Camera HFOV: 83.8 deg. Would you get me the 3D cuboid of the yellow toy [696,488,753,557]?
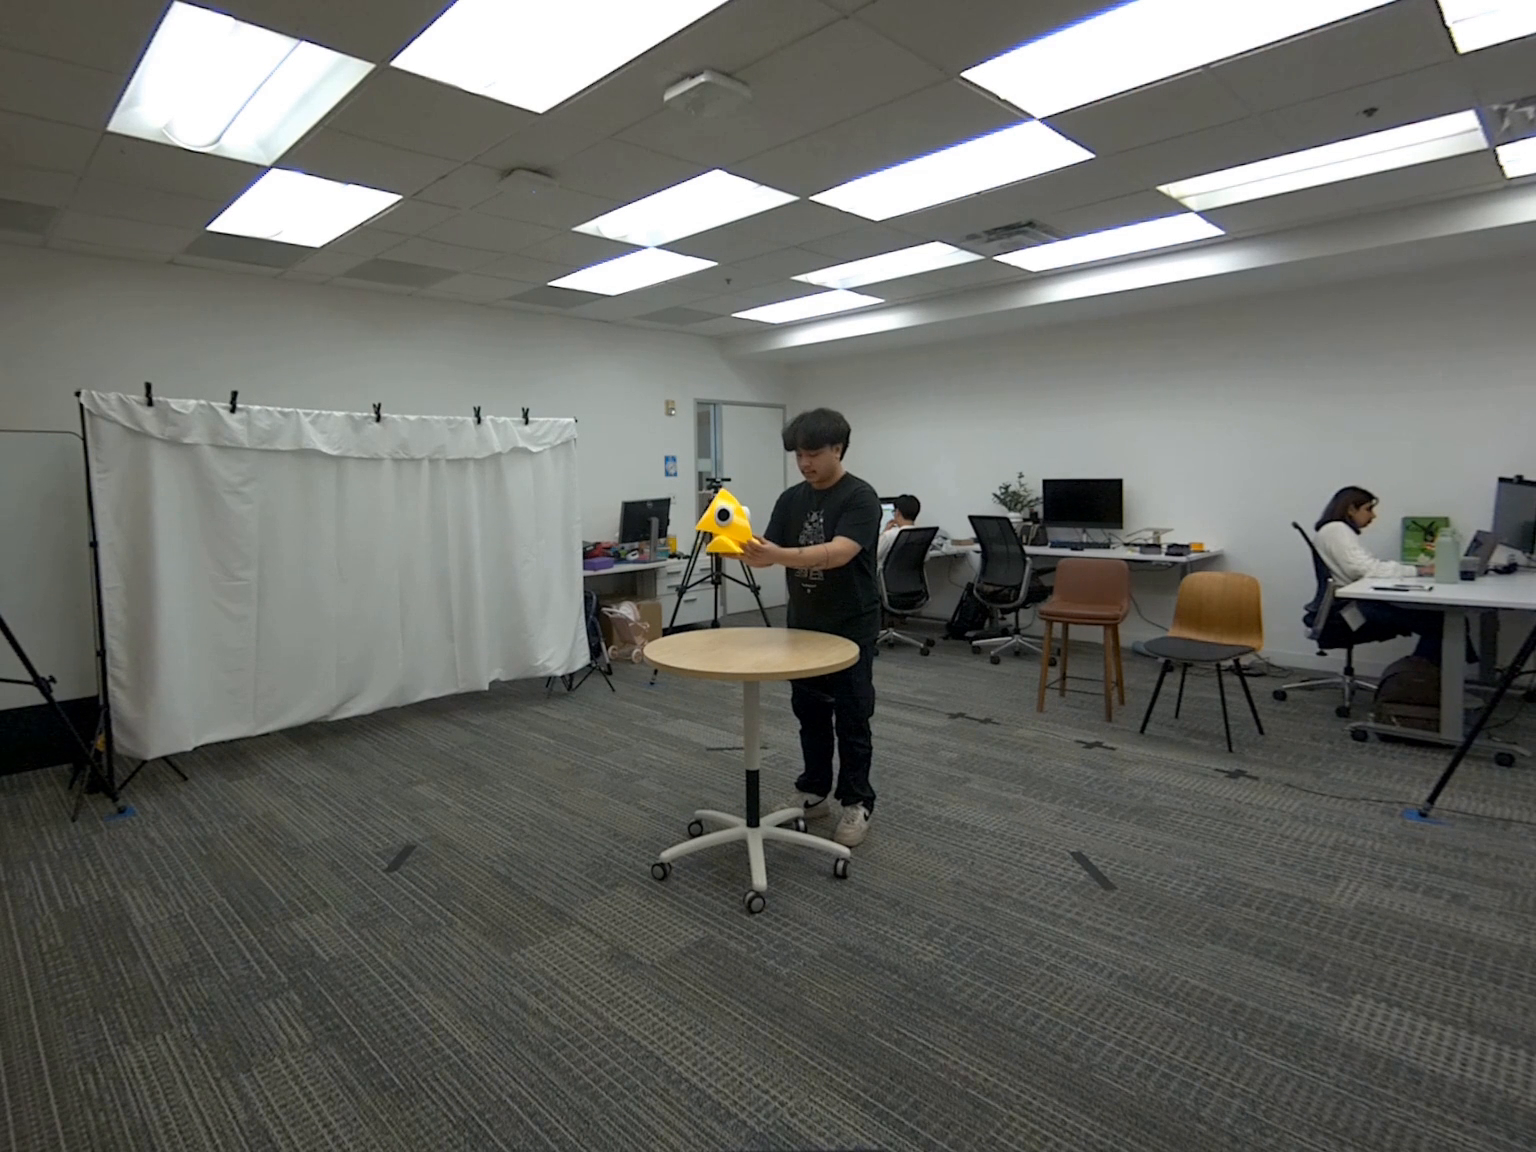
[{"bbox_3d":[-0.119,-0.195,3.012,0.198,0.231,0.199,0,-1,42],"label":"yellow toy"}]
